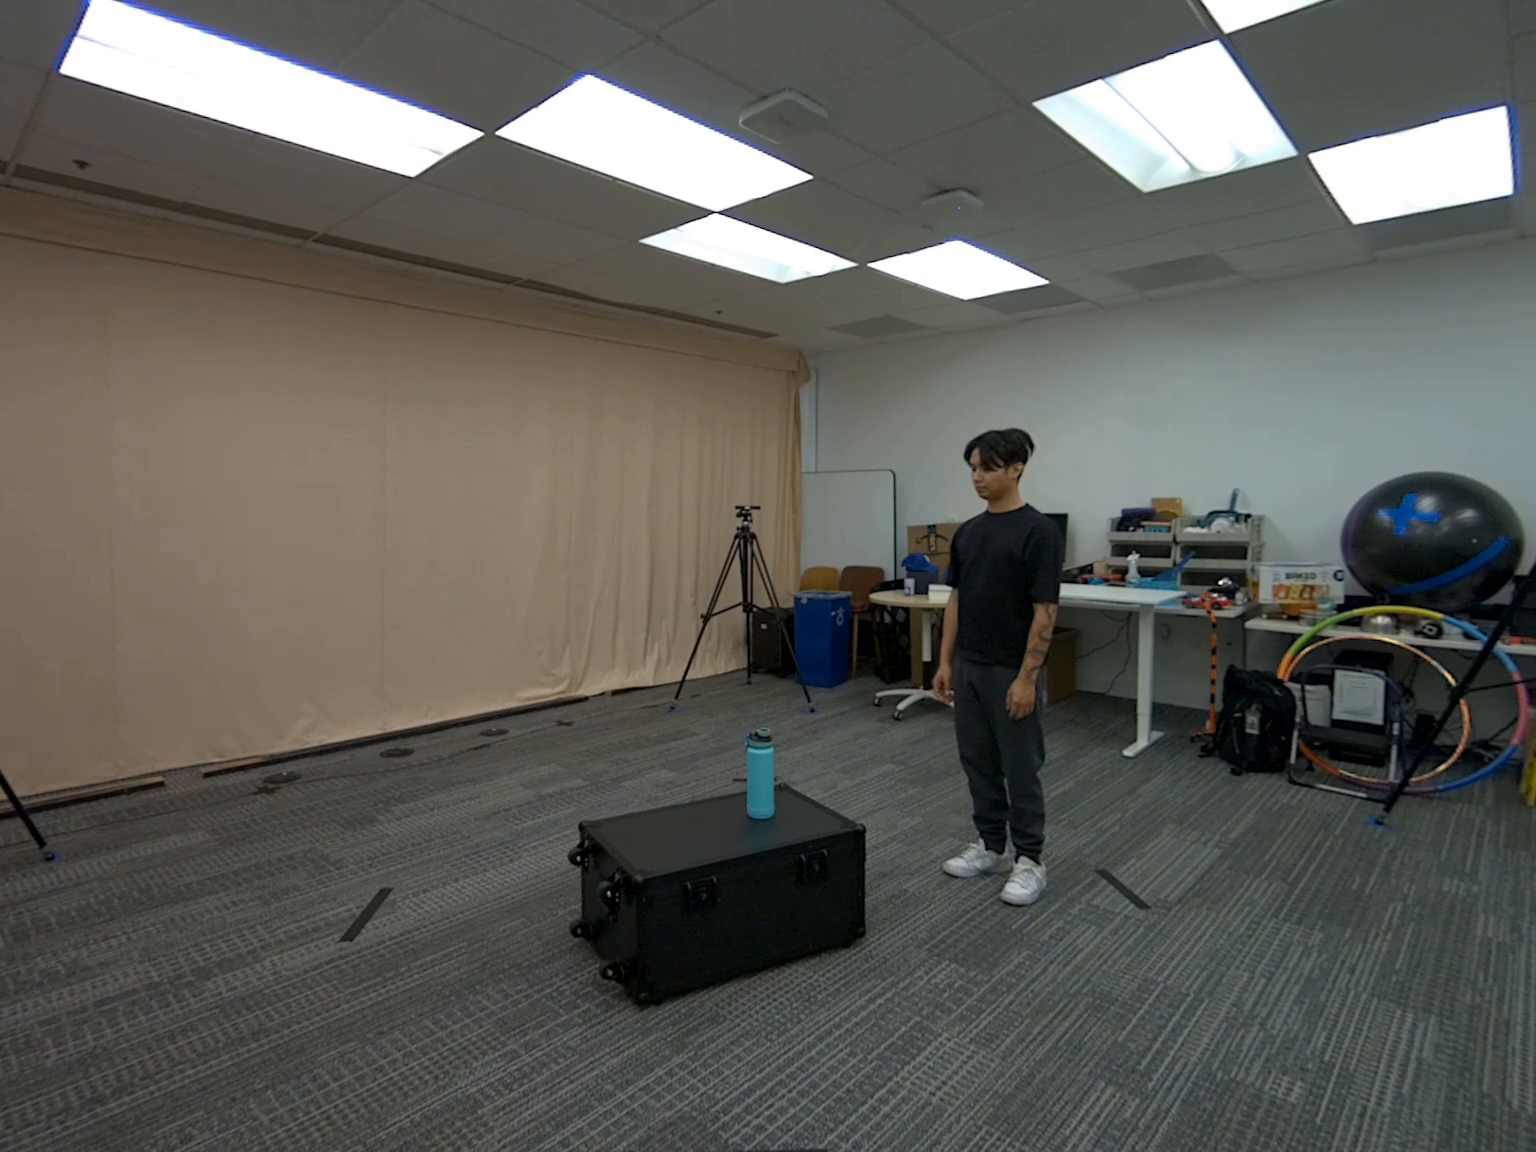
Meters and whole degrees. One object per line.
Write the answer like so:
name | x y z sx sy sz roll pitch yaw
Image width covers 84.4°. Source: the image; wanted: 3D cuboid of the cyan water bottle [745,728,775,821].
cyan water bottle | -0.020 0.643 2.774 0.092 0.283 0.092 -1 2 -2
